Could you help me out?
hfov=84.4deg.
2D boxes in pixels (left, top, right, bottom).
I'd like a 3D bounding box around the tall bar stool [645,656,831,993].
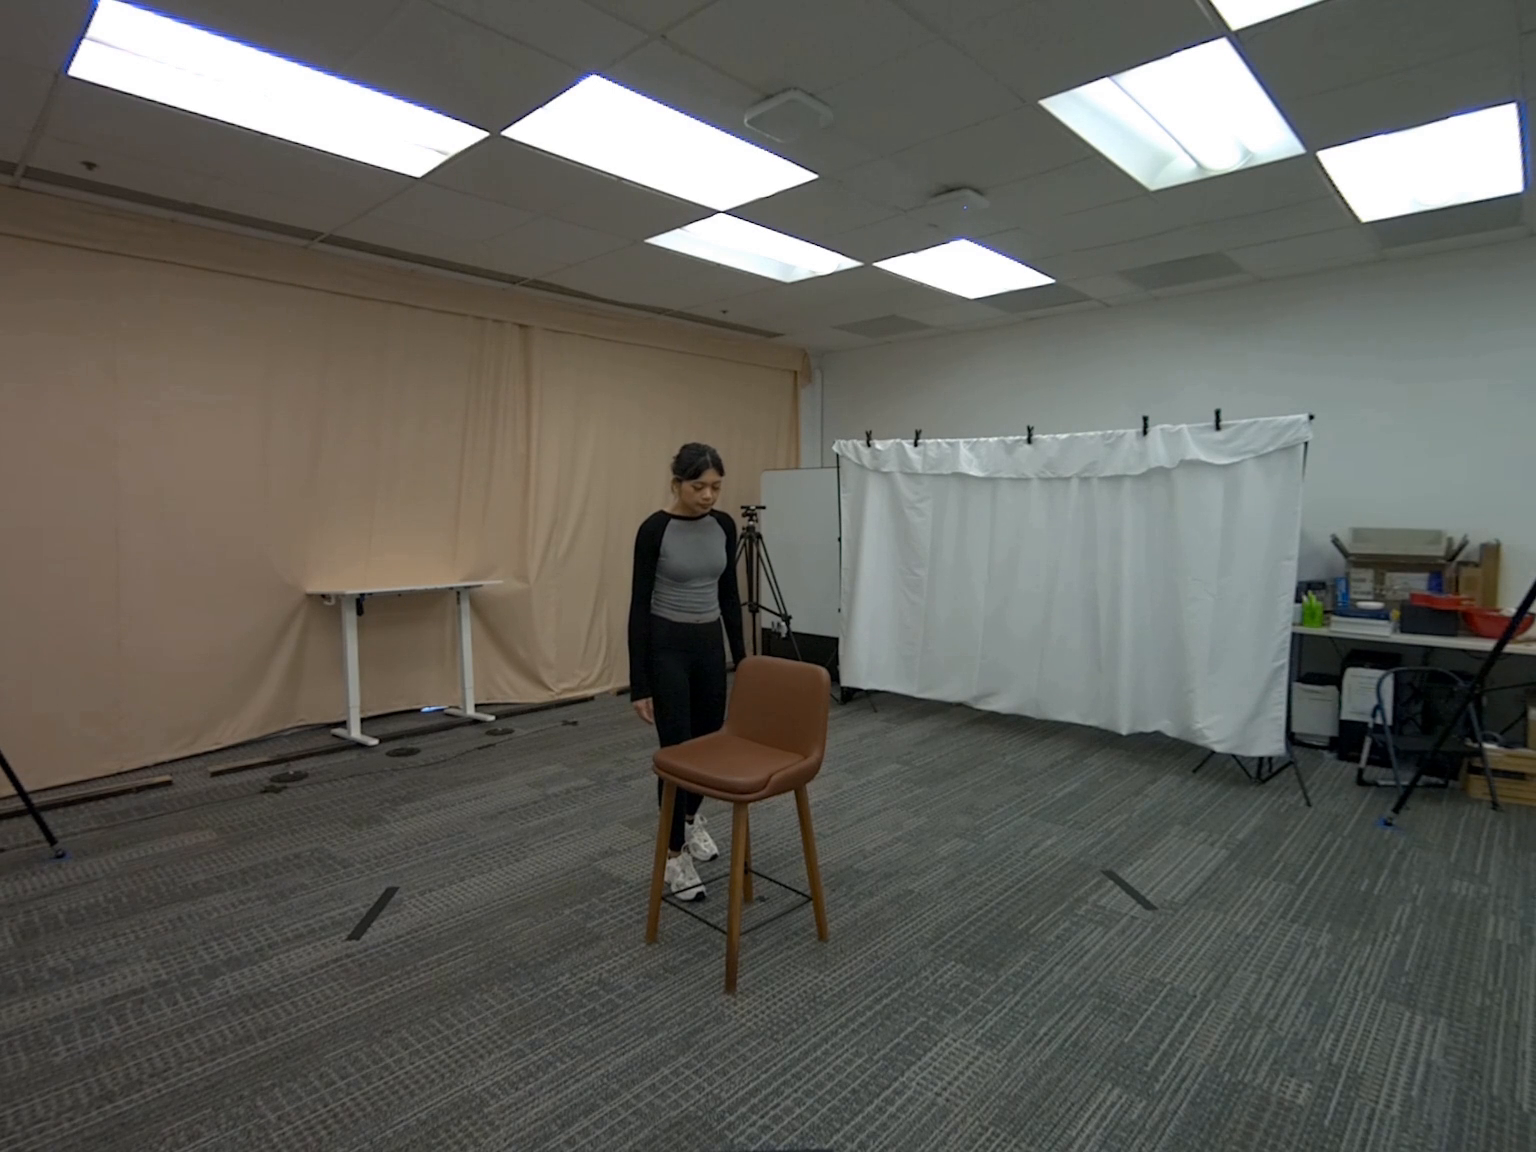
[{"bbox_3d":[-0.080,0.739,2.663,0.453,0.888,0.472,-1,3,-45],"label":"tall bar stool"}]
